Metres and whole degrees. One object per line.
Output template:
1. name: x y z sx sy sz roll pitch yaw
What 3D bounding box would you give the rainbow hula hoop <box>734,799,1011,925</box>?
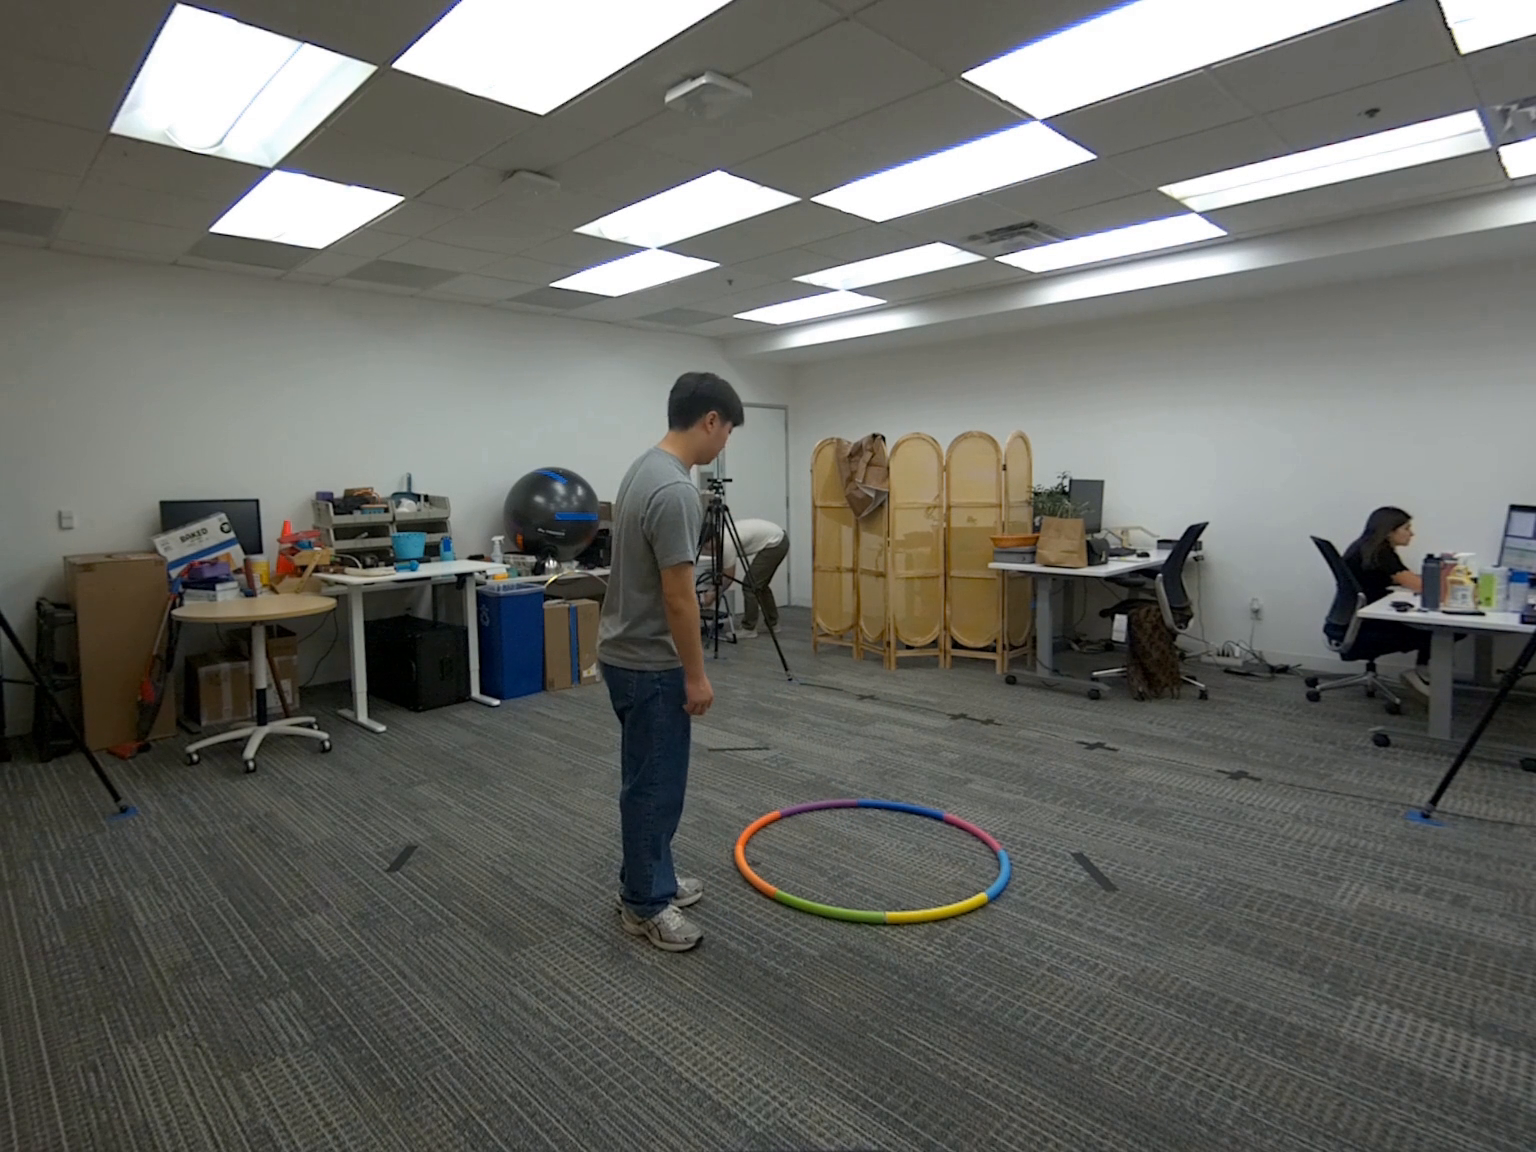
1. rainbow hula hoop: 0.367 1.002 3.146 0.978 0.035 0.984 -2 7 -2
